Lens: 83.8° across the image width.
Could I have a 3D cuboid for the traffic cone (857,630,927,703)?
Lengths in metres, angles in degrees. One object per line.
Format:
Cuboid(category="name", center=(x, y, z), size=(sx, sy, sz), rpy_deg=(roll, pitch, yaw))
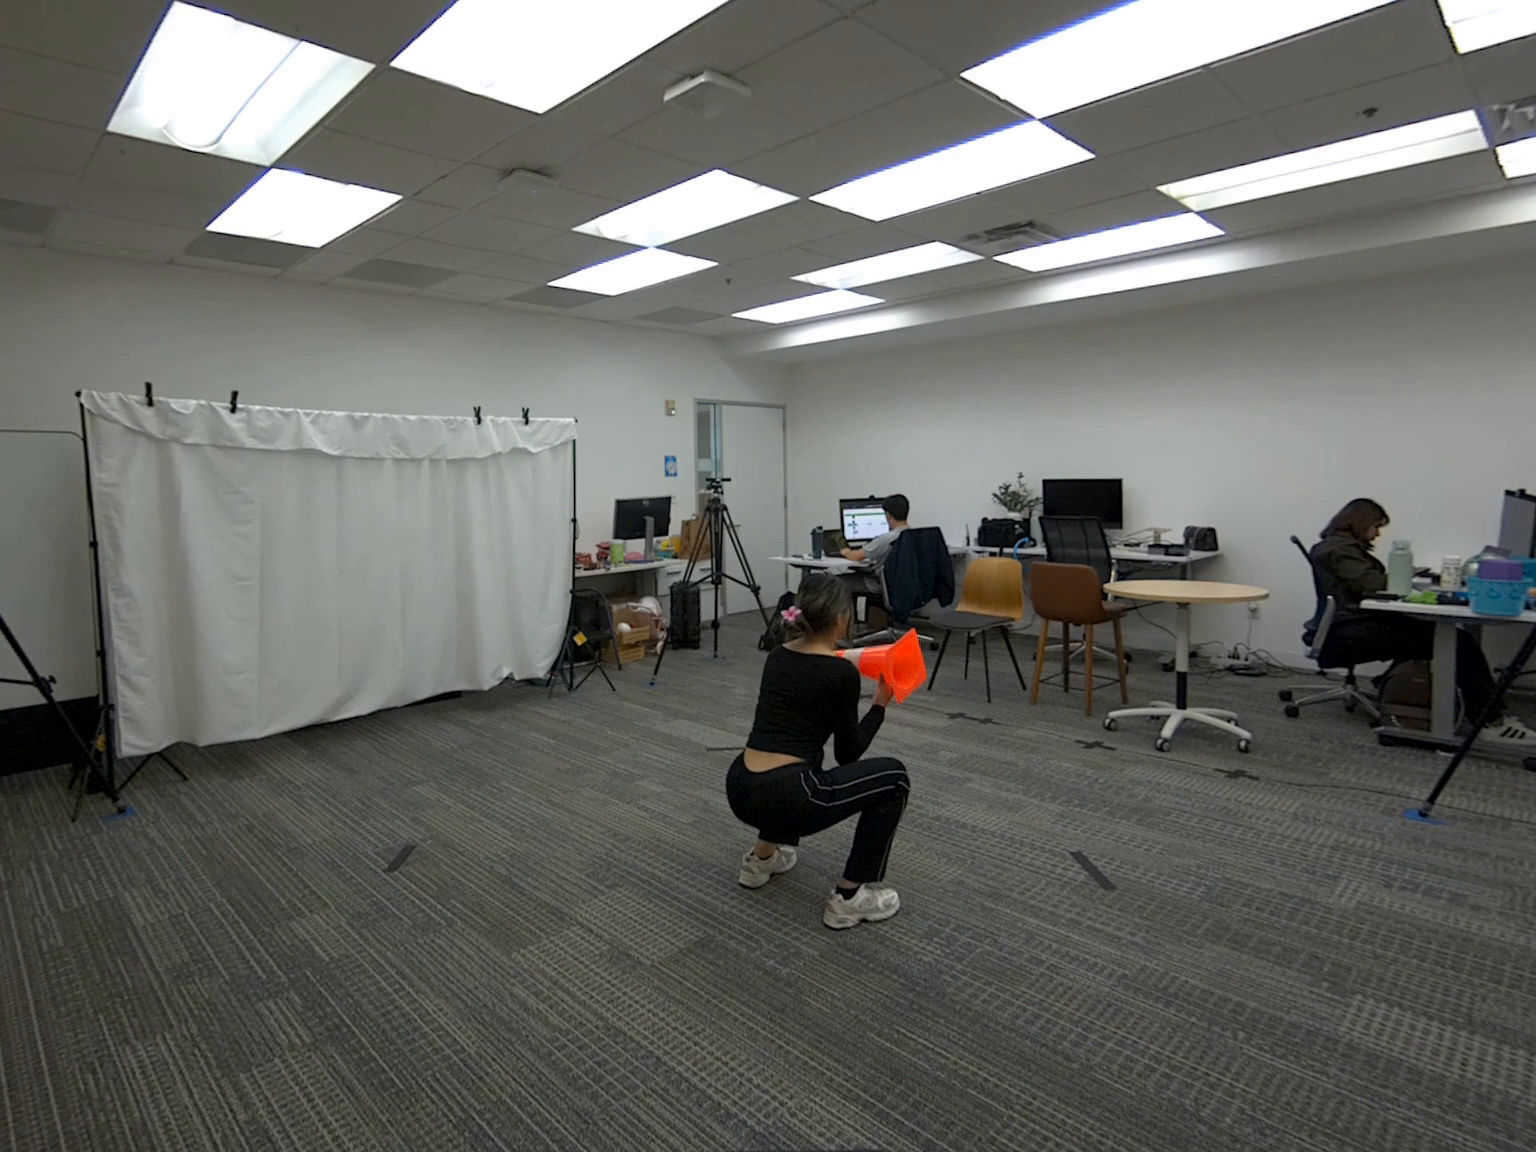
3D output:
Cuboid(category="traffic cone", center=(0.342, 0.300, 3.084), size=(0.395, 0.201, 0.201), rpy_deg=(0, 24, 46))
